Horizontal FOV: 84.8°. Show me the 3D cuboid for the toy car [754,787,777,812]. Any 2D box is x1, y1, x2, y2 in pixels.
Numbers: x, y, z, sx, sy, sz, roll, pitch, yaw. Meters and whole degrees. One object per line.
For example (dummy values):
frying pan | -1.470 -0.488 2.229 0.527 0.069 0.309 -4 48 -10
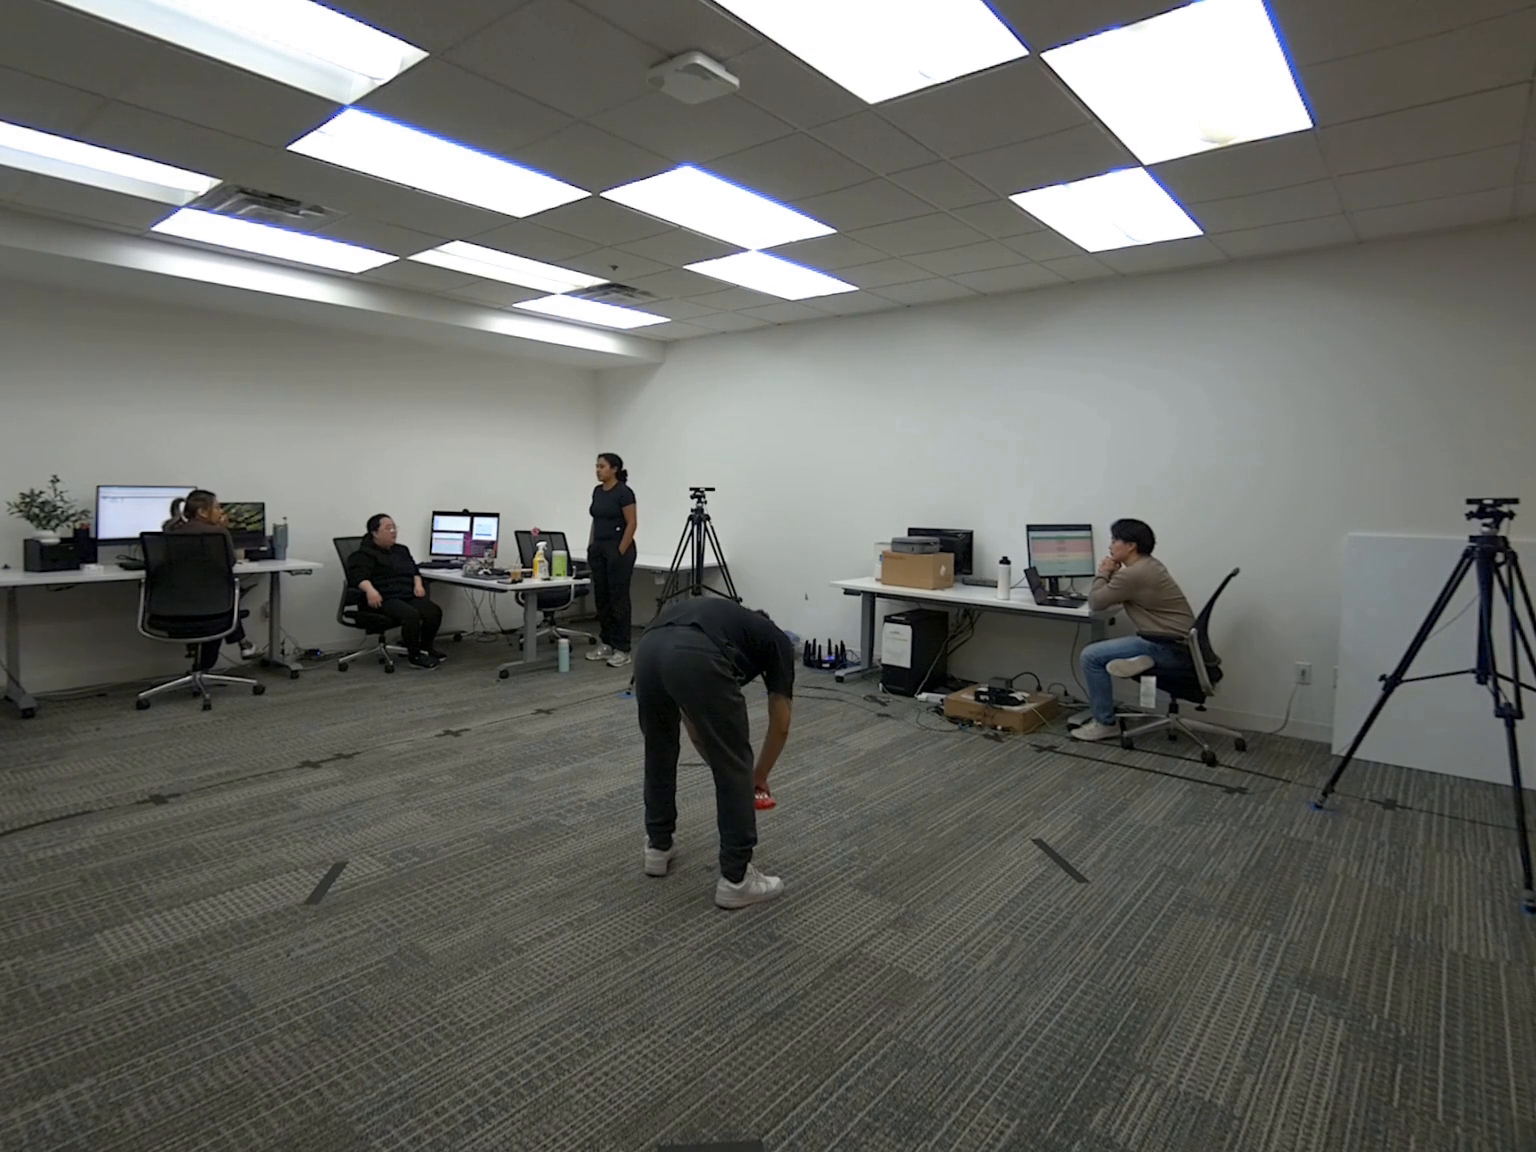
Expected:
toy car | -0.084 0.837 3.248 0.126 0.083 0.263 8 -4 -44
